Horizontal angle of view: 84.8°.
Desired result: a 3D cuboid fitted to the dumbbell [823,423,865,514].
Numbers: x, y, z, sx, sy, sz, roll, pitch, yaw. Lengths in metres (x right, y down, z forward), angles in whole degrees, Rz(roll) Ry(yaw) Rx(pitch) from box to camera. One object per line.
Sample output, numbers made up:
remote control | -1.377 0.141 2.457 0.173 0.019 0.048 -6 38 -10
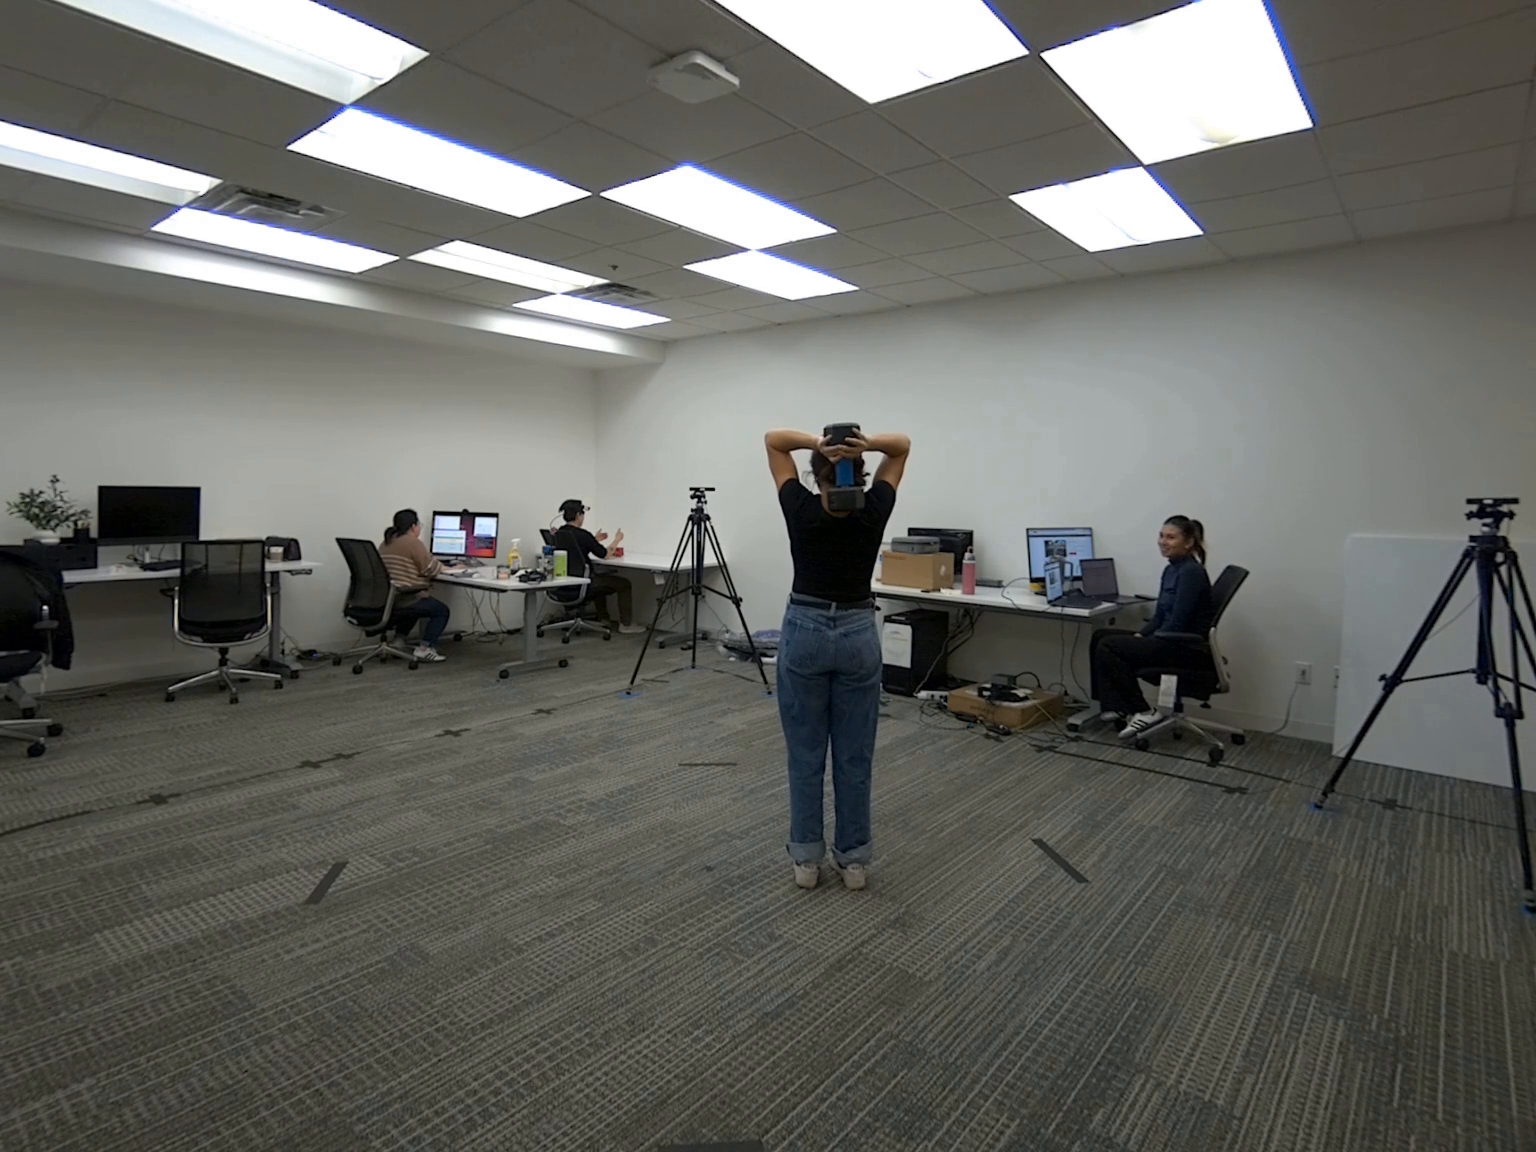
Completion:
dumbbell | 0.249 -0.368 2.842 0.112 0.293 0.119 -2 3 44
